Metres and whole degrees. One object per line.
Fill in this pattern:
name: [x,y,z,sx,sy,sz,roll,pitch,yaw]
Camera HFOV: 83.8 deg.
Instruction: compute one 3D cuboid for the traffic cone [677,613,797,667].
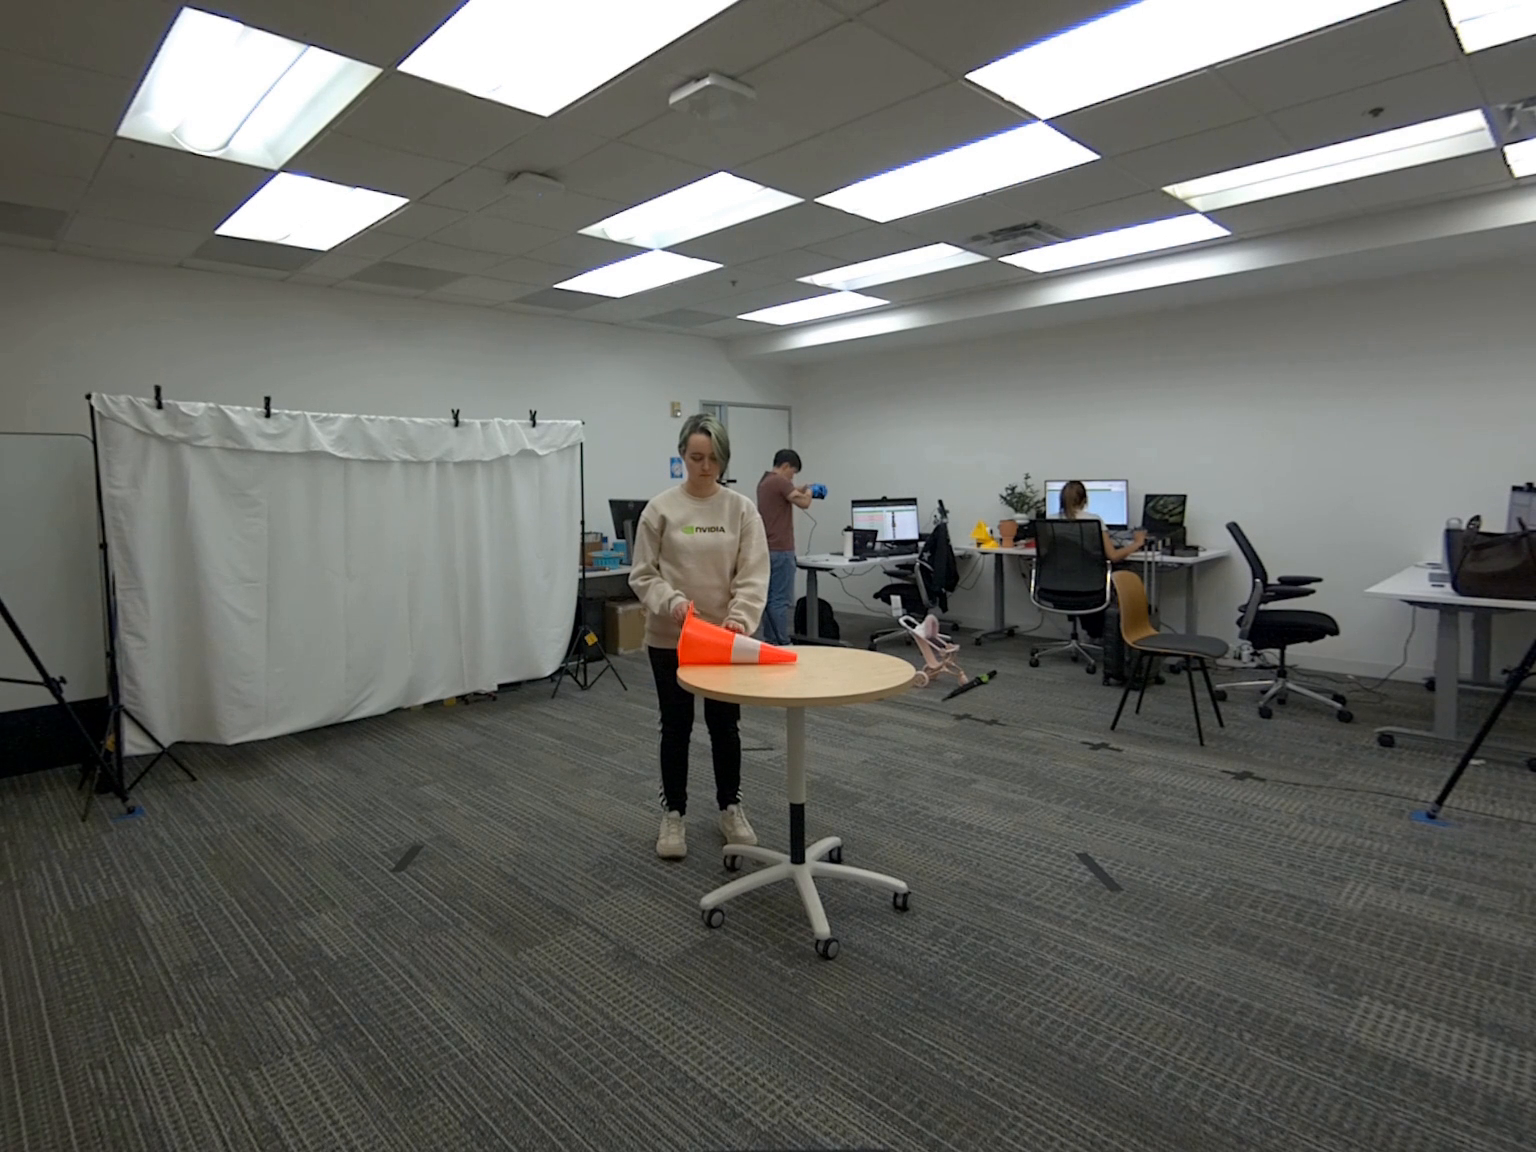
traffic cone: [-0.098,0.254,2.853,0.388,0.199,0.207,10,47,9]
